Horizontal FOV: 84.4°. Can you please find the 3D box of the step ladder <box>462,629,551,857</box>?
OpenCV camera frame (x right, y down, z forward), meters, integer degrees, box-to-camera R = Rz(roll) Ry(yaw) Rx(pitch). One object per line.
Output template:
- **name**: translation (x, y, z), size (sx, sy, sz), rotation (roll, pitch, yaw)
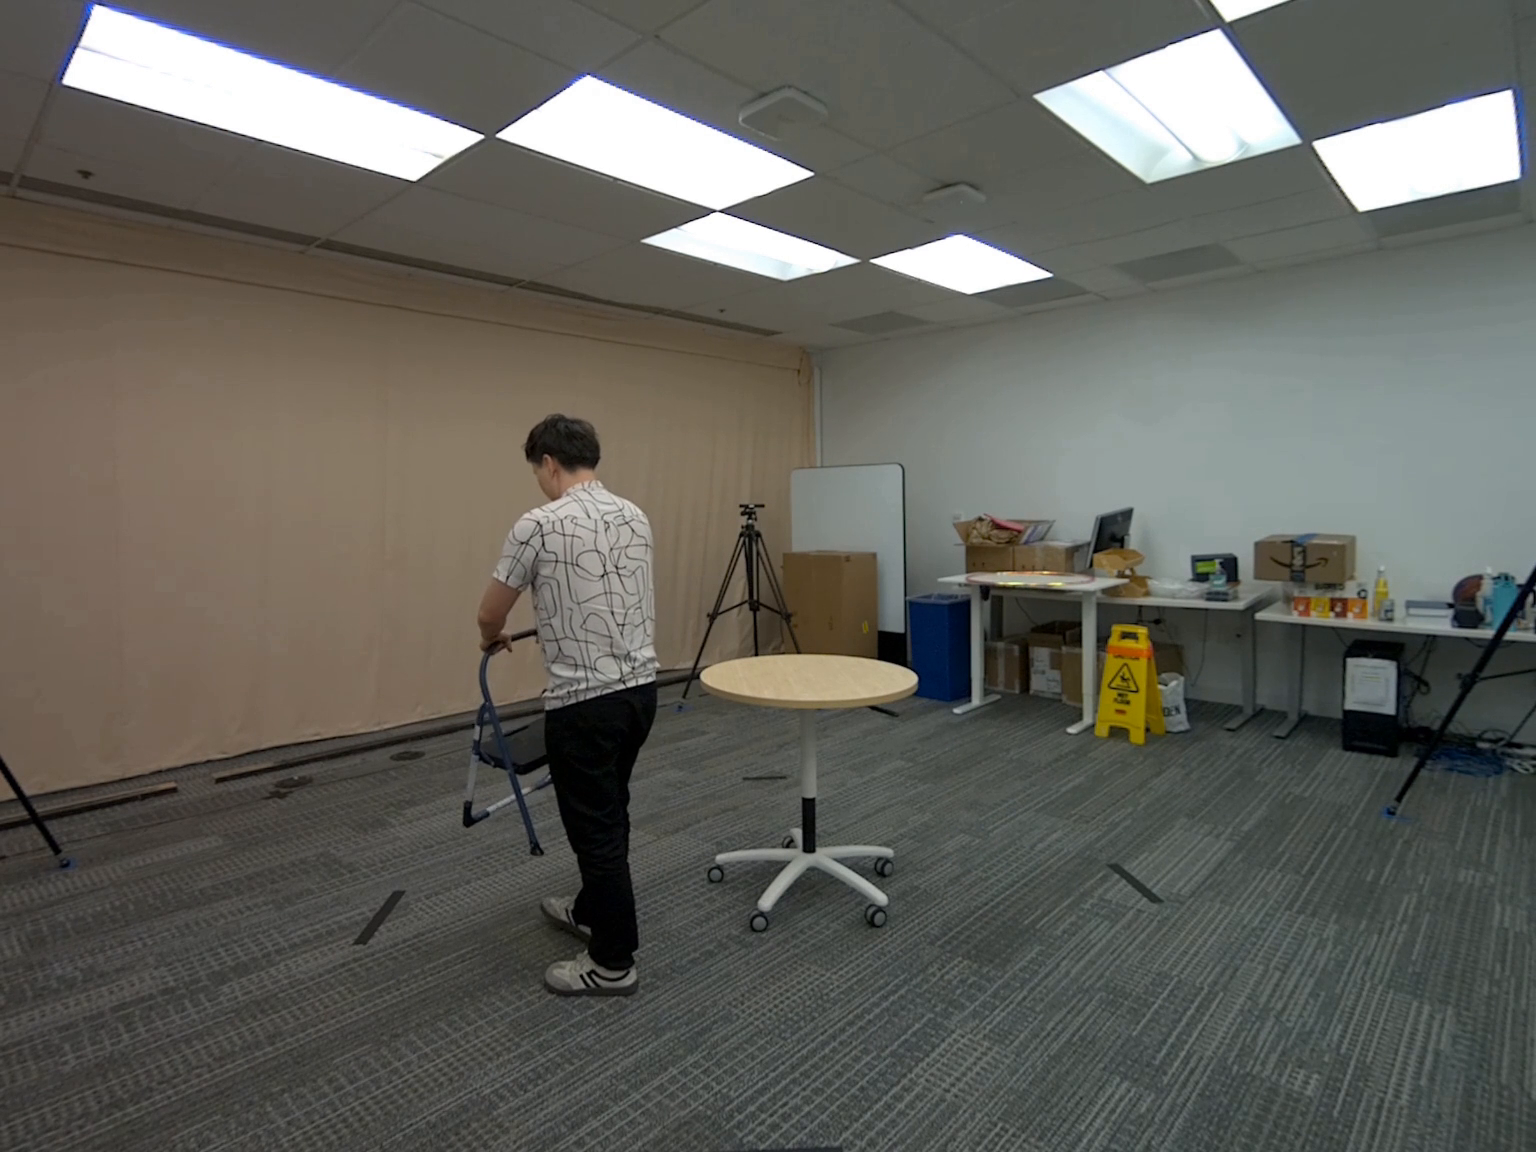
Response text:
- **step ladder**: translation (-0.742, 0.500, 2.738), size (0.360, 0.602, 0.420), rotation (4, 10, 30)
